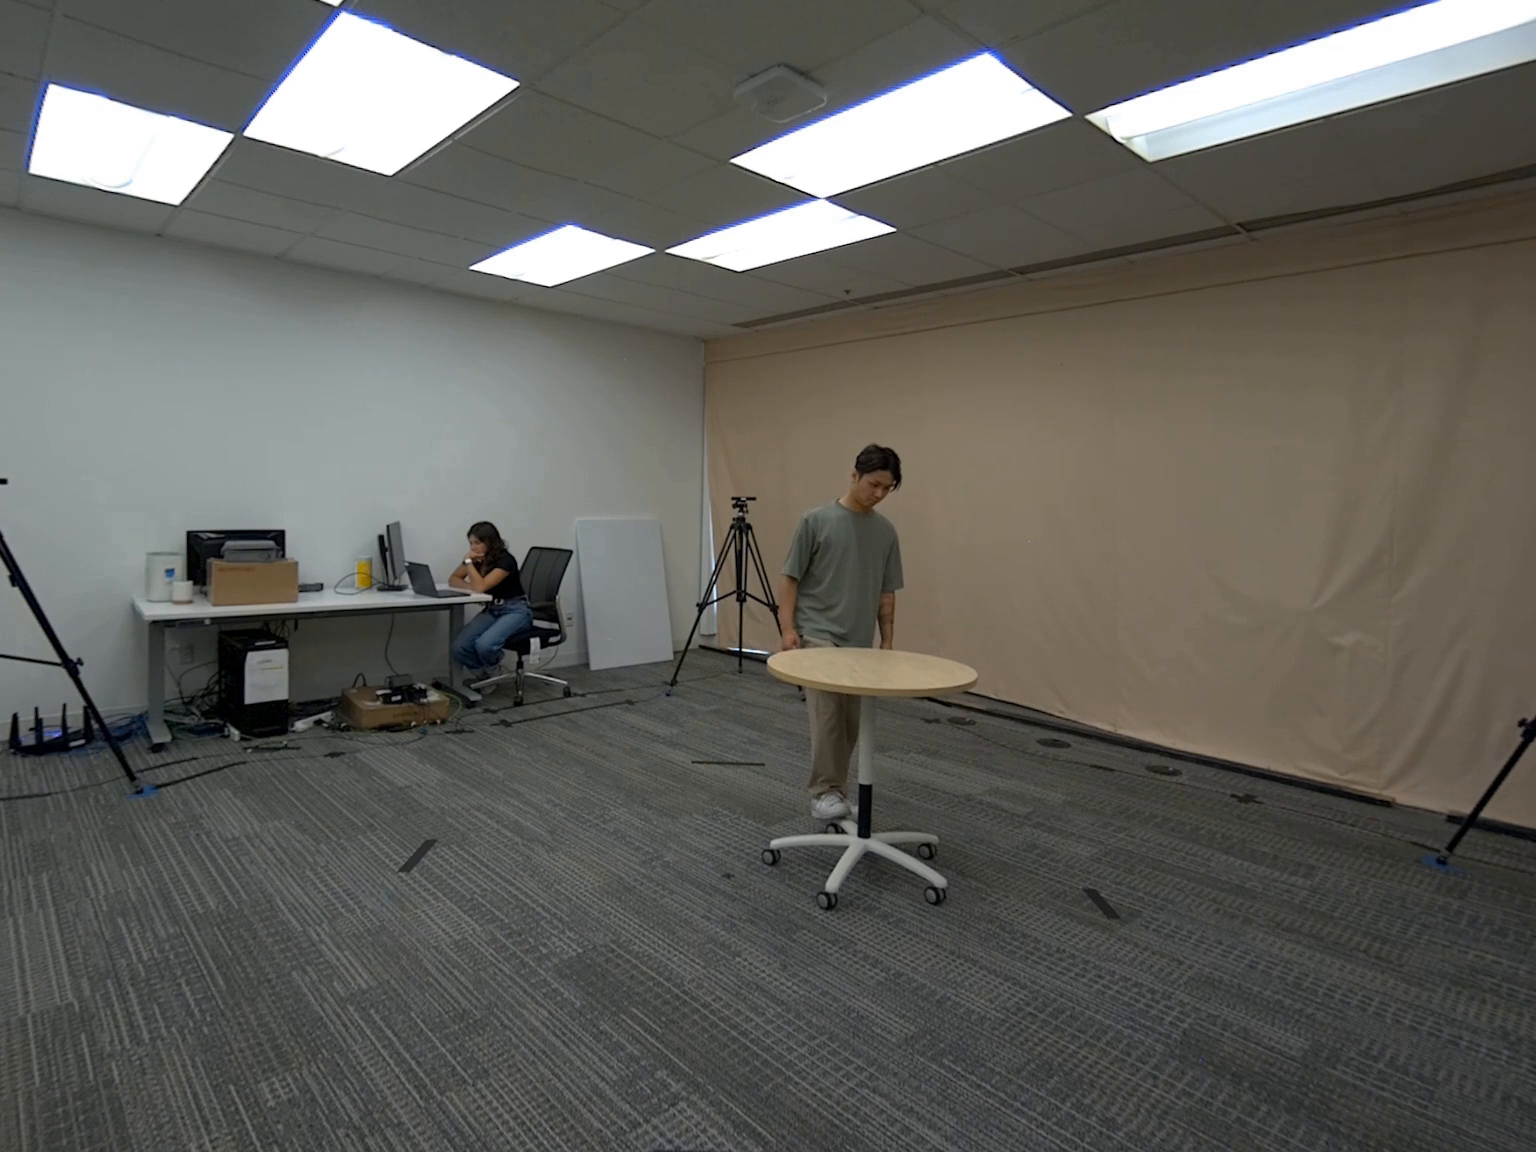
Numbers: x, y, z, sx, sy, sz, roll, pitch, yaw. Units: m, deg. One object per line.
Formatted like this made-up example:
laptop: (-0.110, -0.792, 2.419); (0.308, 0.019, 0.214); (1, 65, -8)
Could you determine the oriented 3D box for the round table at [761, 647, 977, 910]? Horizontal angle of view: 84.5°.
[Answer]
round table: (0.367, 0.724, 3.133); (0.784, 0.784, 0.788); (2, 4, -1)
